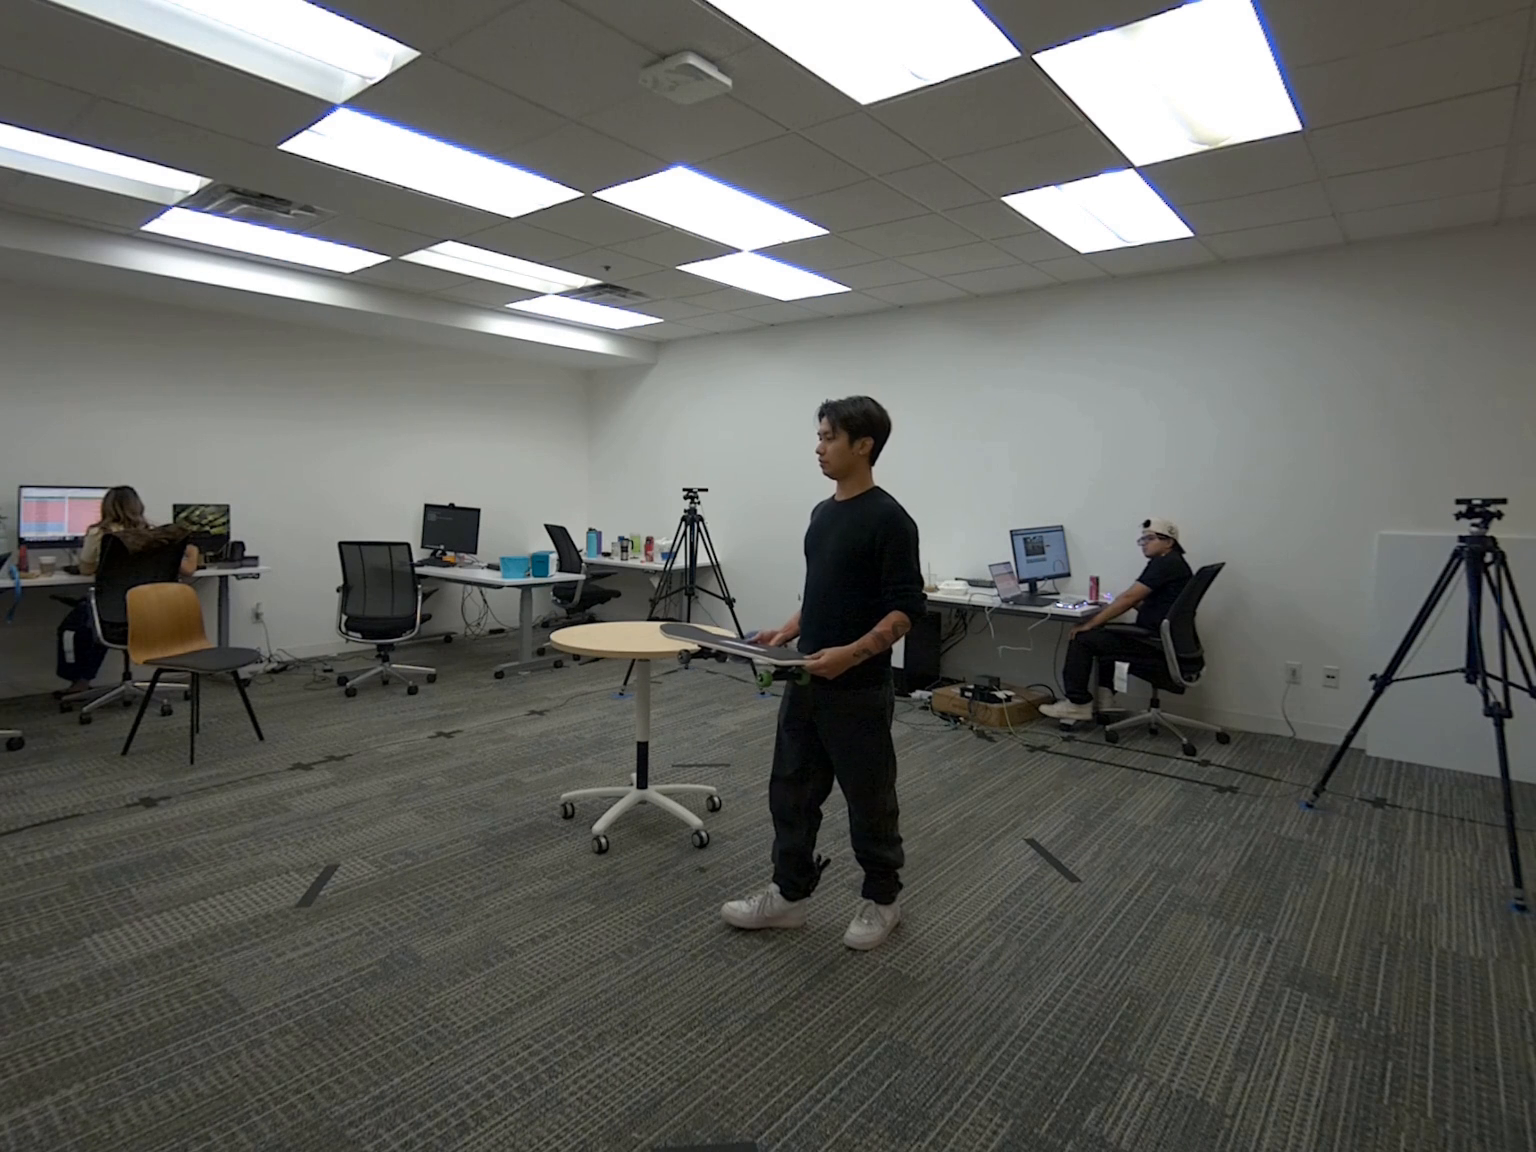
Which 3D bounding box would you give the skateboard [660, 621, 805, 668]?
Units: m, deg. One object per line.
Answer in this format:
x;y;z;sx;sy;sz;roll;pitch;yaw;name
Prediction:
-0.080;0.254;2.655;0.187;0.110;0.812;3;2;-41;skateboard
